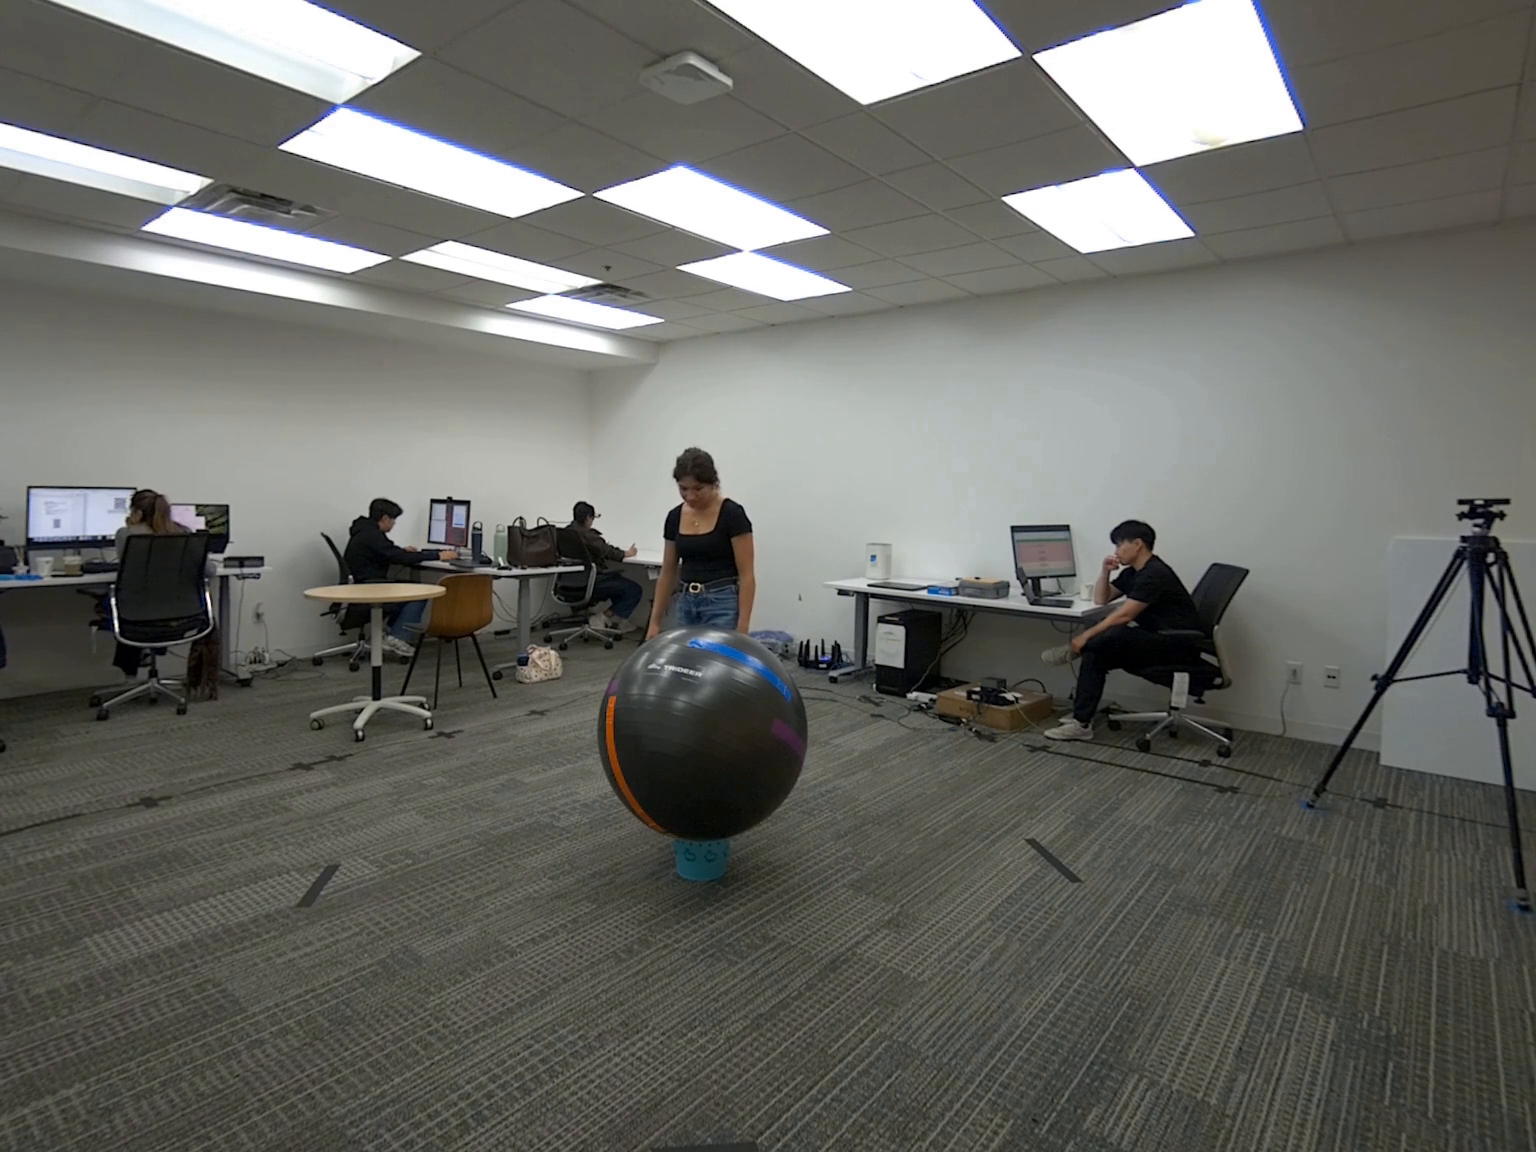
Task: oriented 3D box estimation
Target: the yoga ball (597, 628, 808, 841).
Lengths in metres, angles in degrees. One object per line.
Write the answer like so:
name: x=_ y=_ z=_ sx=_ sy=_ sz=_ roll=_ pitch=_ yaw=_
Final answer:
yoga ball: x=-0.246 y=0.558 z=3.082 sx=0.757 sy=0.756 sz=0.762 roll=1 pitch=4 yaw=-2
